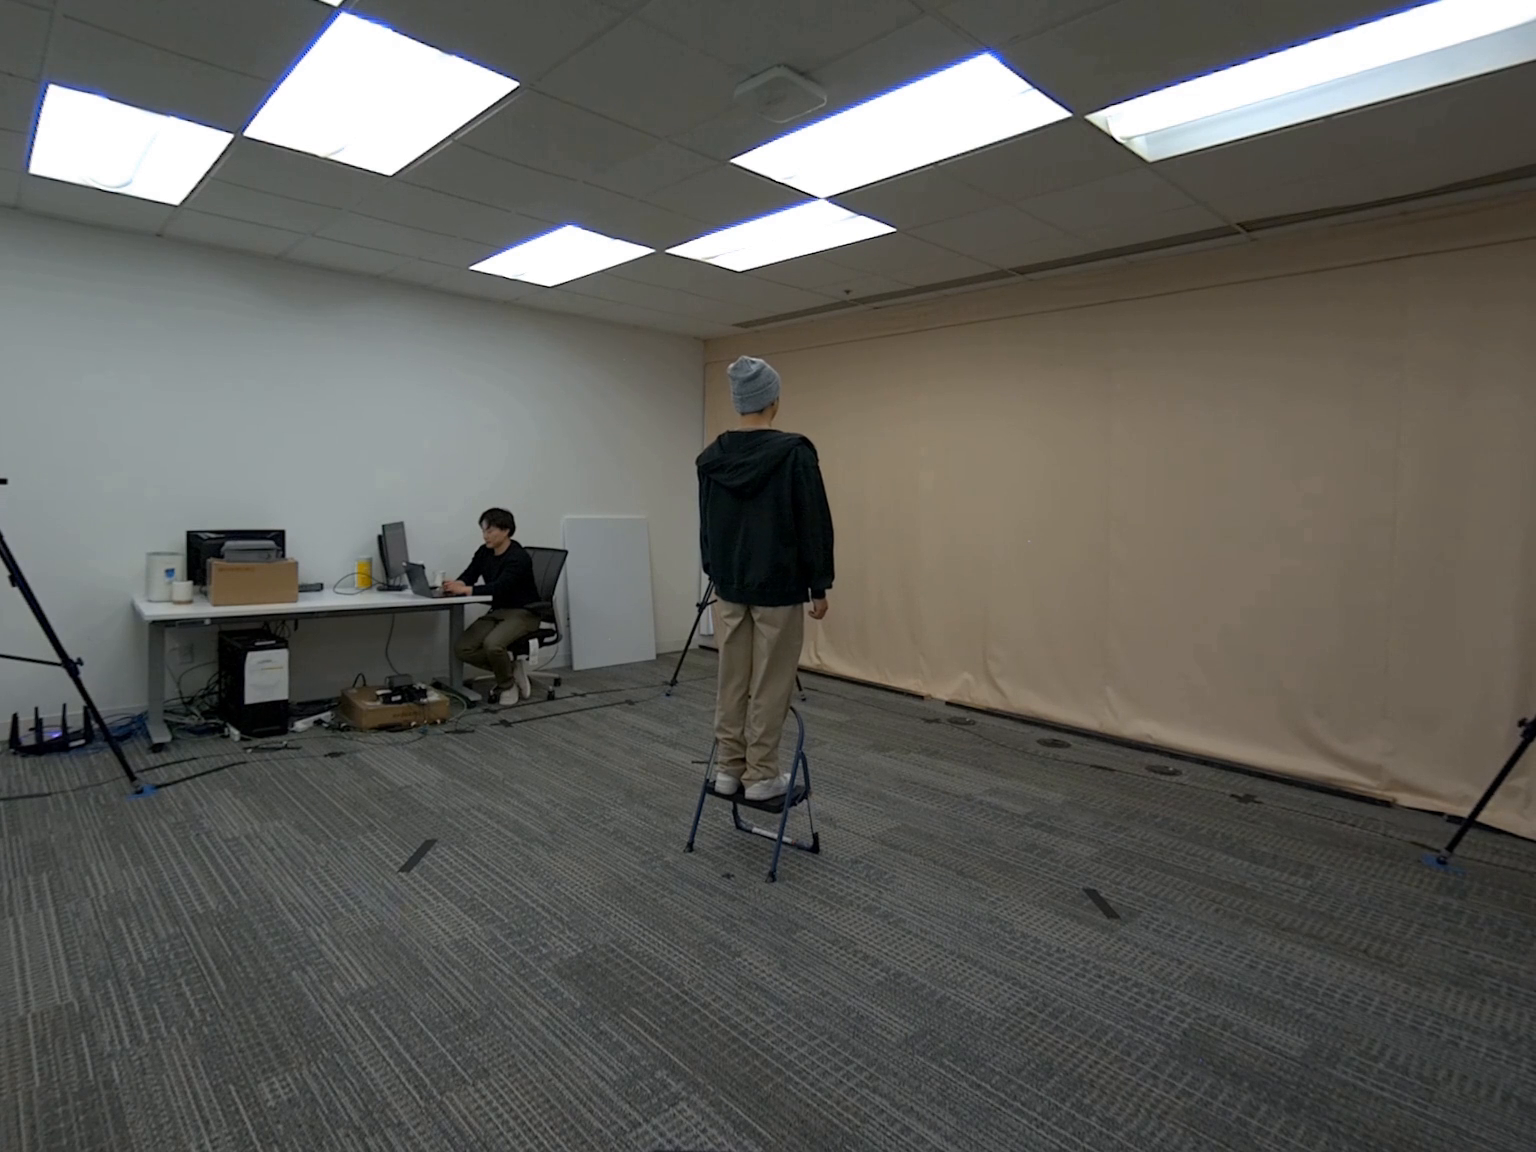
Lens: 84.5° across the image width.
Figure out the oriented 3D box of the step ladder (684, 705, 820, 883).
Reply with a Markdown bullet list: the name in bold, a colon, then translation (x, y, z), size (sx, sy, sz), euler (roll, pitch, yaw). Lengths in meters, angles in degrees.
- **step ladder**: translation (-0.054, 0.789, 3.306), size (0.441, 0.605, 0.341), euler (4, 3, 36)
